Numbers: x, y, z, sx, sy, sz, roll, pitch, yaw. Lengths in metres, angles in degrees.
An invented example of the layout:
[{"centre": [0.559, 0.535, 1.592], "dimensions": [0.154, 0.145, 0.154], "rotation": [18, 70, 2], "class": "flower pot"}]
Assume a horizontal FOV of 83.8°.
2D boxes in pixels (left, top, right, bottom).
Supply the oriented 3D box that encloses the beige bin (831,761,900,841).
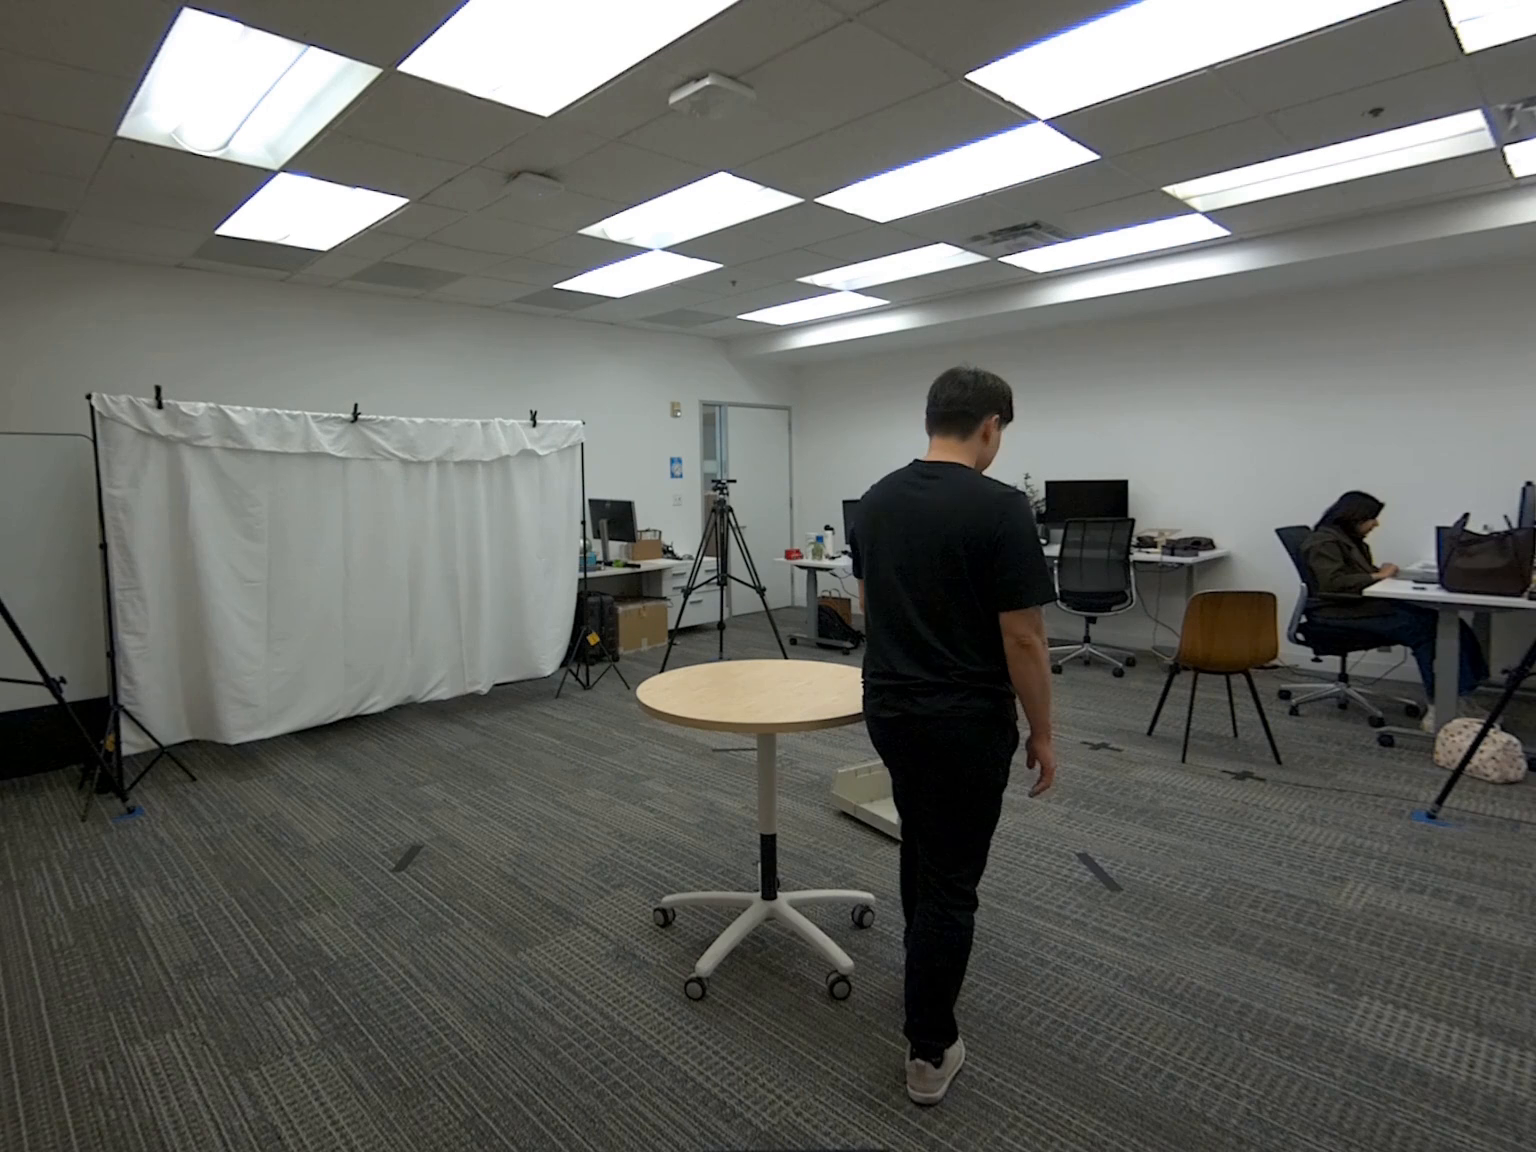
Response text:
[{"centre": [0.534, 0.906, 3.481], "dimensions": [0.368, 0.188, 0.434], "rotation": [-3, 5, -32], "class": "beige bin"}]
